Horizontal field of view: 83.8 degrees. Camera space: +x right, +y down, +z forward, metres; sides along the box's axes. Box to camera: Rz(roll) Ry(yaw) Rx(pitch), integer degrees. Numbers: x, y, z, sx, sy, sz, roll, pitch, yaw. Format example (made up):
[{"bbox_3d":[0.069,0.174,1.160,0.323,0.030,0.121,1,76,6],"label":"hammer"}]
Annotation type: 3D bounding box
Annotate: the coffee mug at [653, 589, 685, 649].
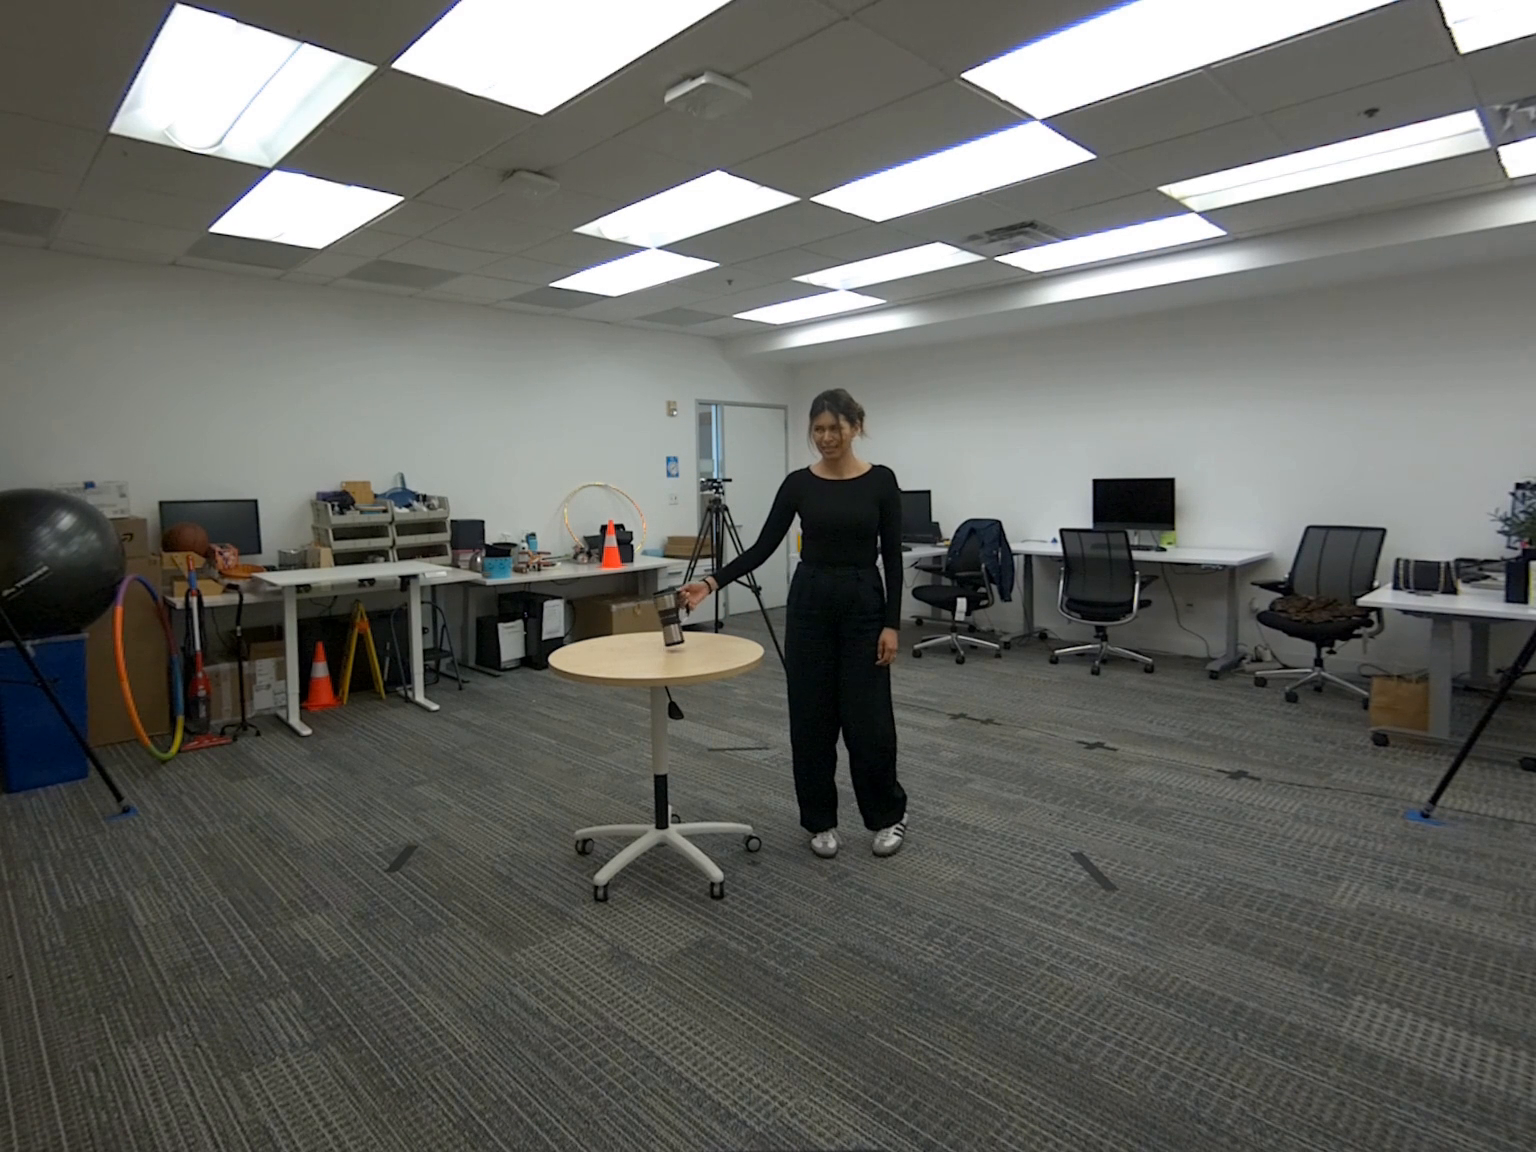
[{"bbox_3d":[-0.333,0.144,3.065,0.085,0.204,0.124,-4,-9,-44],"label":"coffee mug"}]
